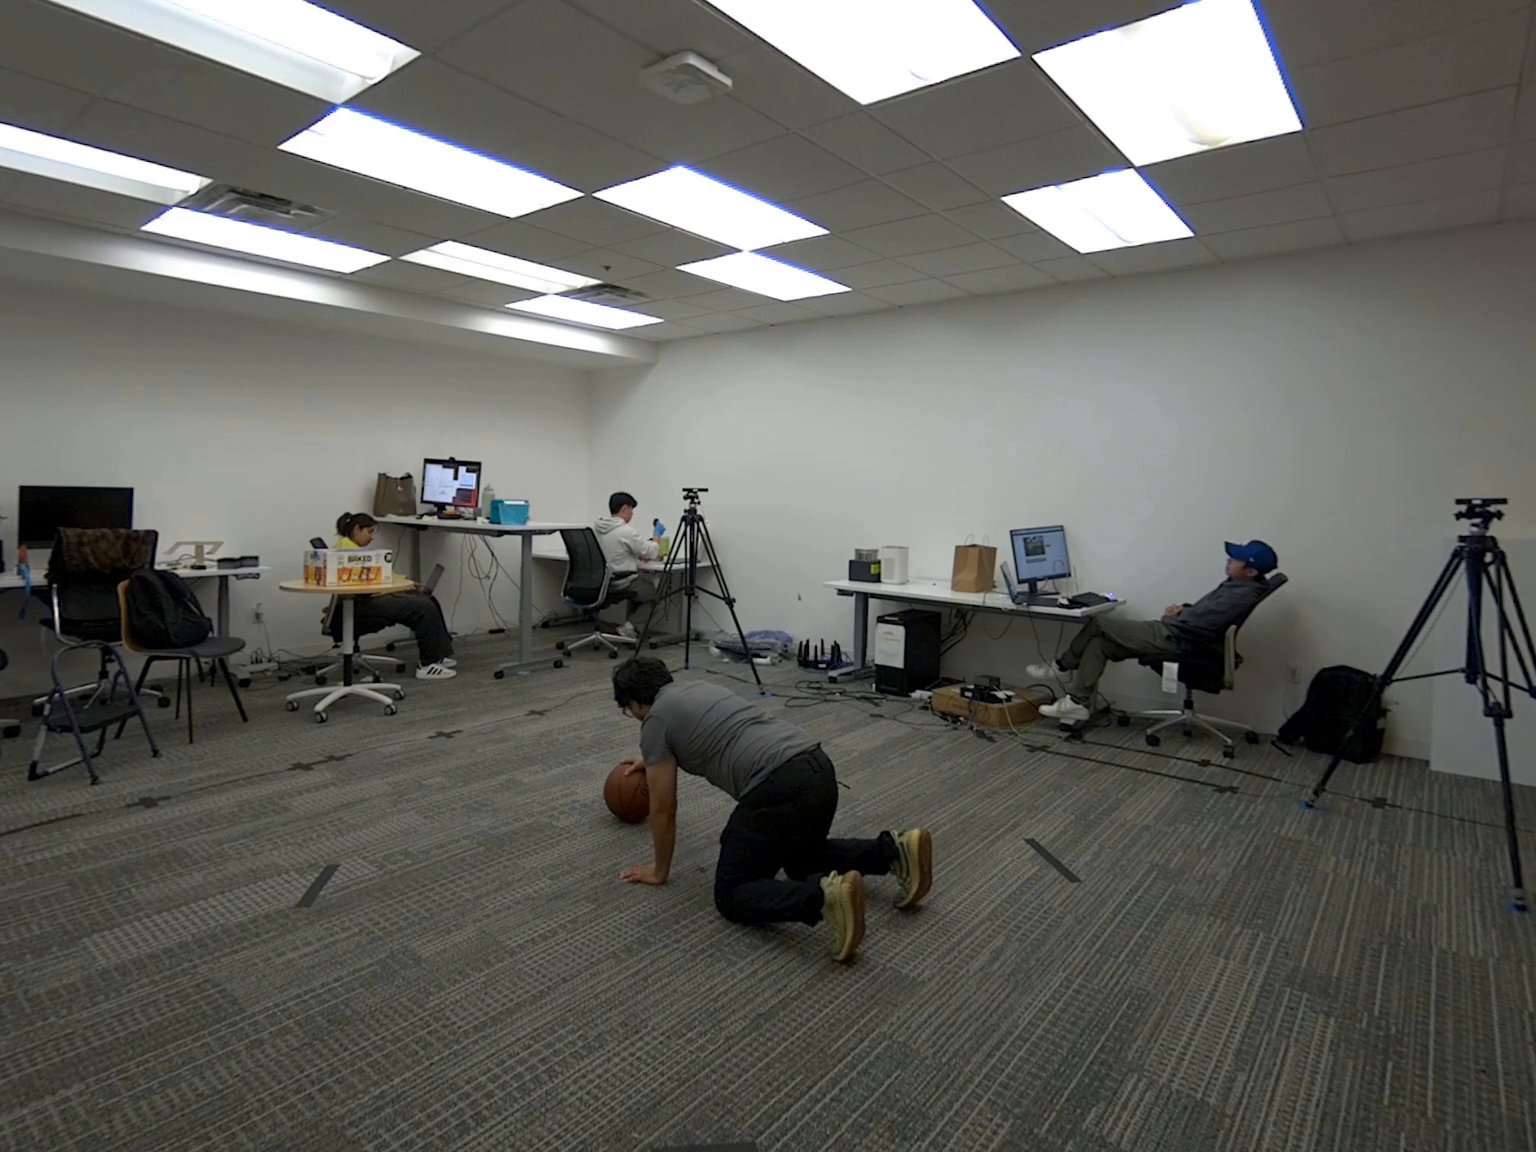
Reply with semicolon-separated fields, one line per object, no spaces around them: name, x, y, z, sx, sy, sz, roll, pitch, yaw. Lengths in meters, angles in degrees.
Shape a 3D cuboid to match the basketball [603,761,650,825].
basketball;-0.574;0.899;3.575;0.235;0.235;0.237;1;4;-2
